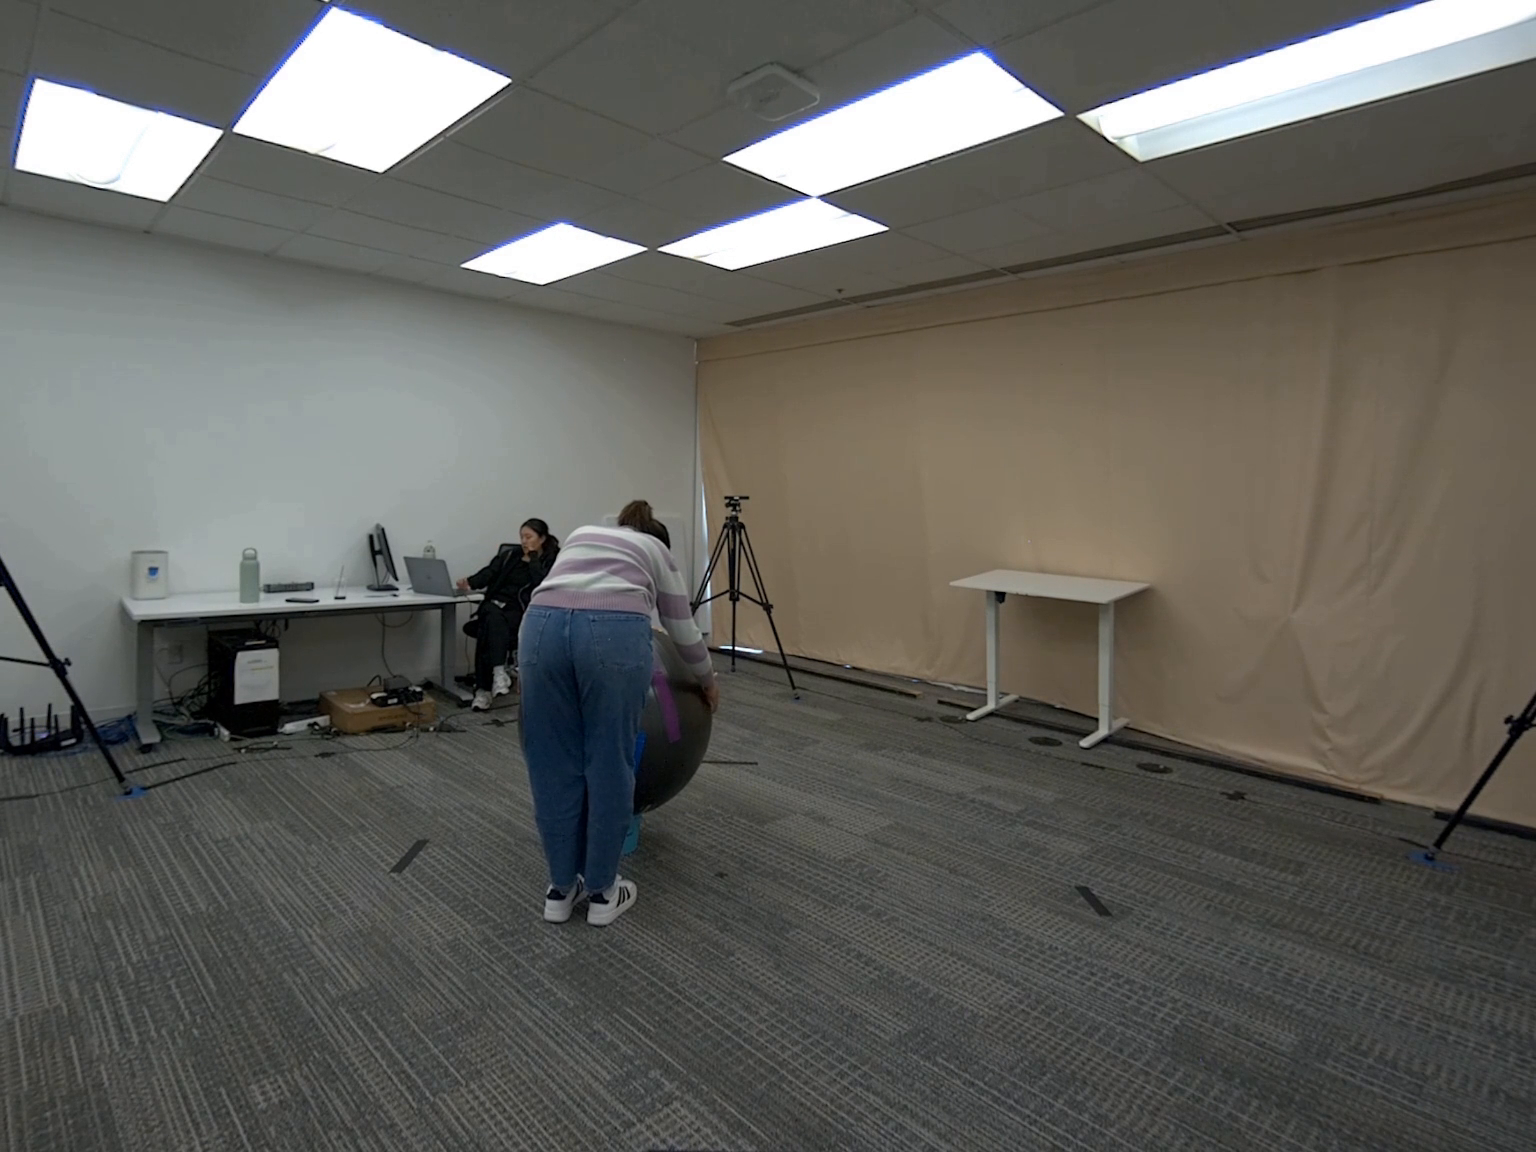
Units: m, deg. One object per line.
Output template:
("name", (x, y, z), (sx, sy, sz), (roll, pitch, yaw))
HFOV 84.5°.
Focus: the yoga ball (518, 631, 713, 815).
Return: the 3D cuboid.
("yoga ball", (-0.601, 0.564, 3.318), (0.757, 0.756, 0.761), (1, 4, -1))
